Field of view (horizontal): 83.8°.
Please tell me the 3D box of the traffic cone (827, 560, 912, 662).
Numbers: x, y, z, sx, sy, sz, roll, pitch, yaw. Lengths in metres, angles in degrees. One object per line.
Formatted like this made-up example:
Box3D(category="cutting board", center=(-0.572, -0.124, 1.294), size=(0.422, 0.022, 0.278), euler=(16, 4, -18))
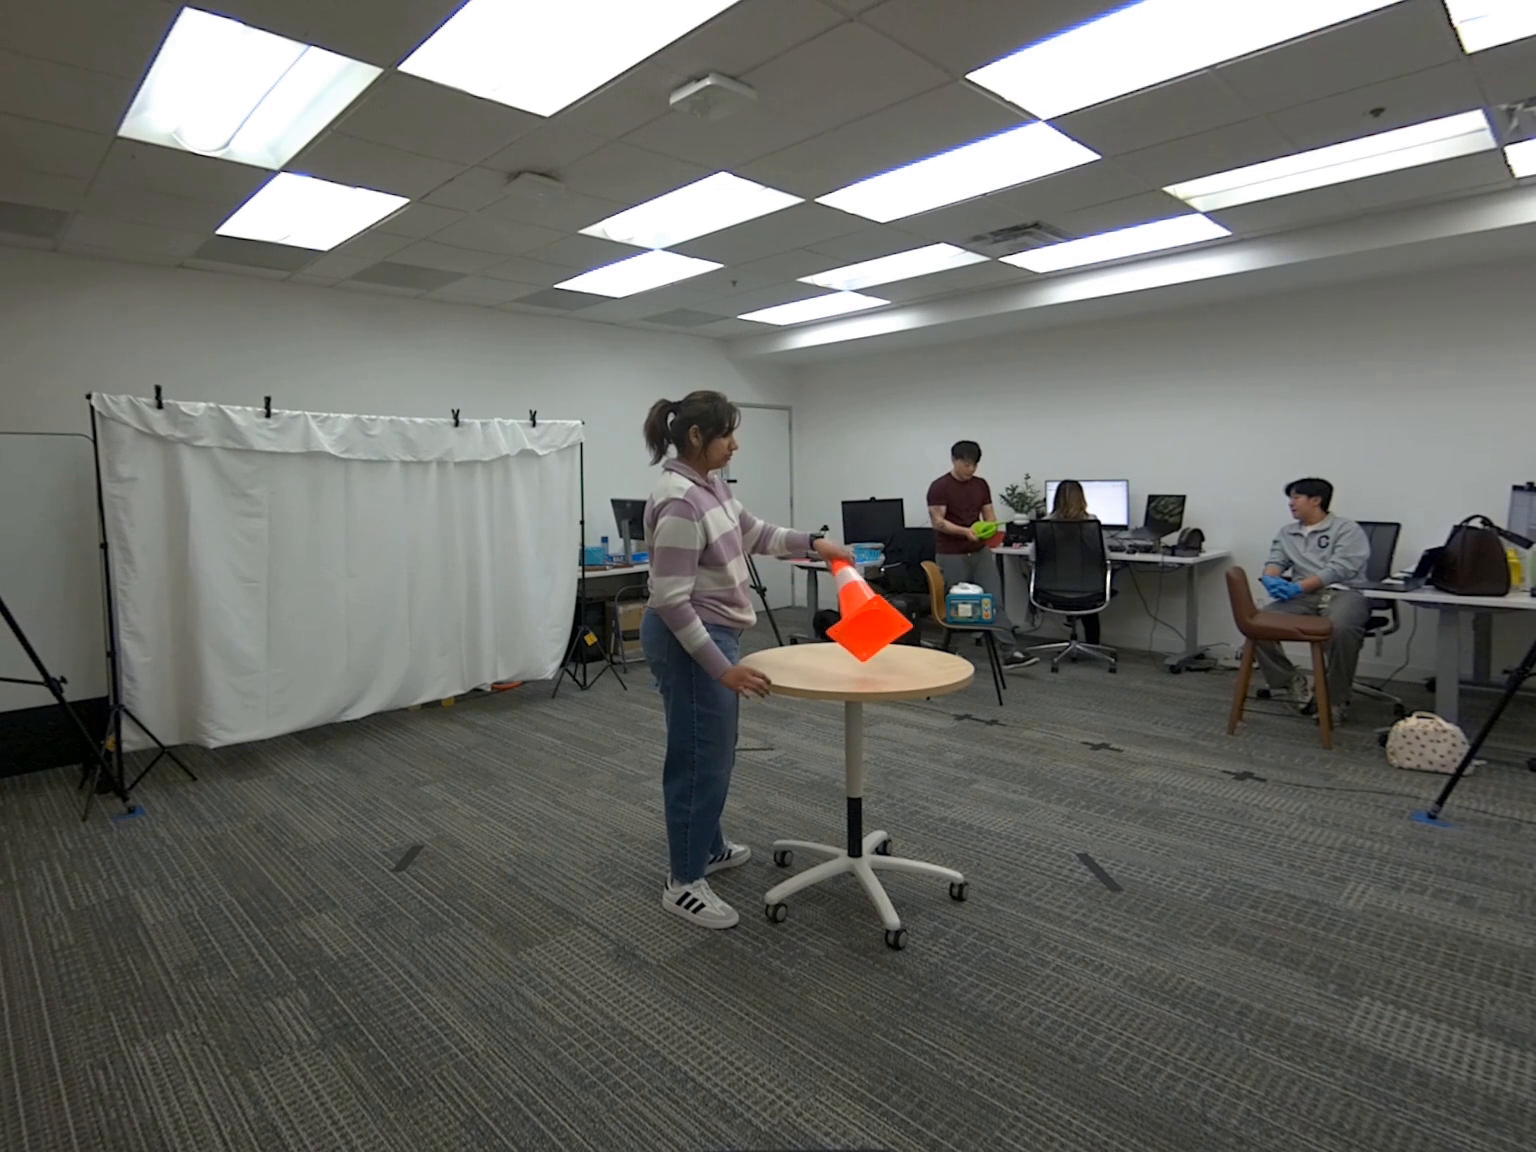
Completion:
Box3D(category="traffic cone", center=(0.271, 0.045, 2.715), size=(0.204, 0.197, 0.396), euler=(-36, 37, 16))
